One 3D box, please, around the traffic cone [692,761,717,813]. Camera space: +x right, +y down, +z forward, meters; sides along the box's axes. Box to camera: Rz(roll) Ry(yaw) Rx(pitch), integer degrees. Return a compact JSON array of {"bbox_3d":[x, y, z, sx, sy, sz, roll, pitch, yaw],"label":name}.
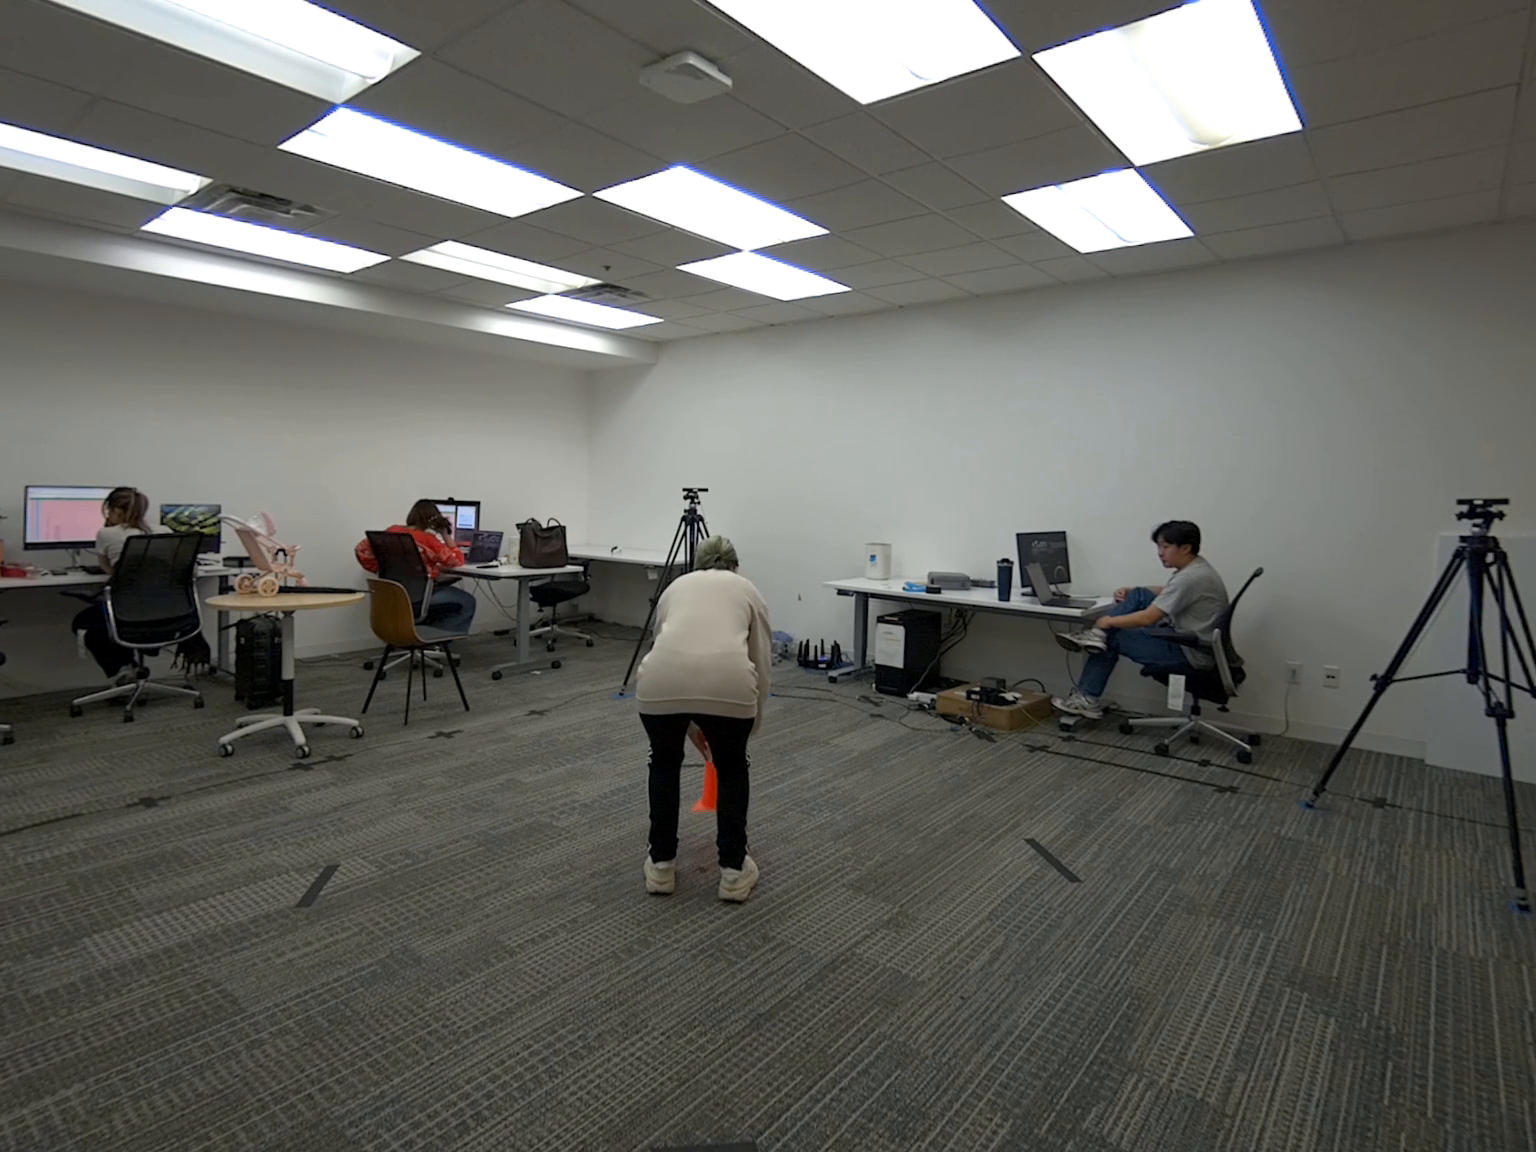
[{"bbox_3d":[-0.201,0.684,3.287,0.208,0.384,0.200,-4,-1,14],"label":"traffic cone"}]
